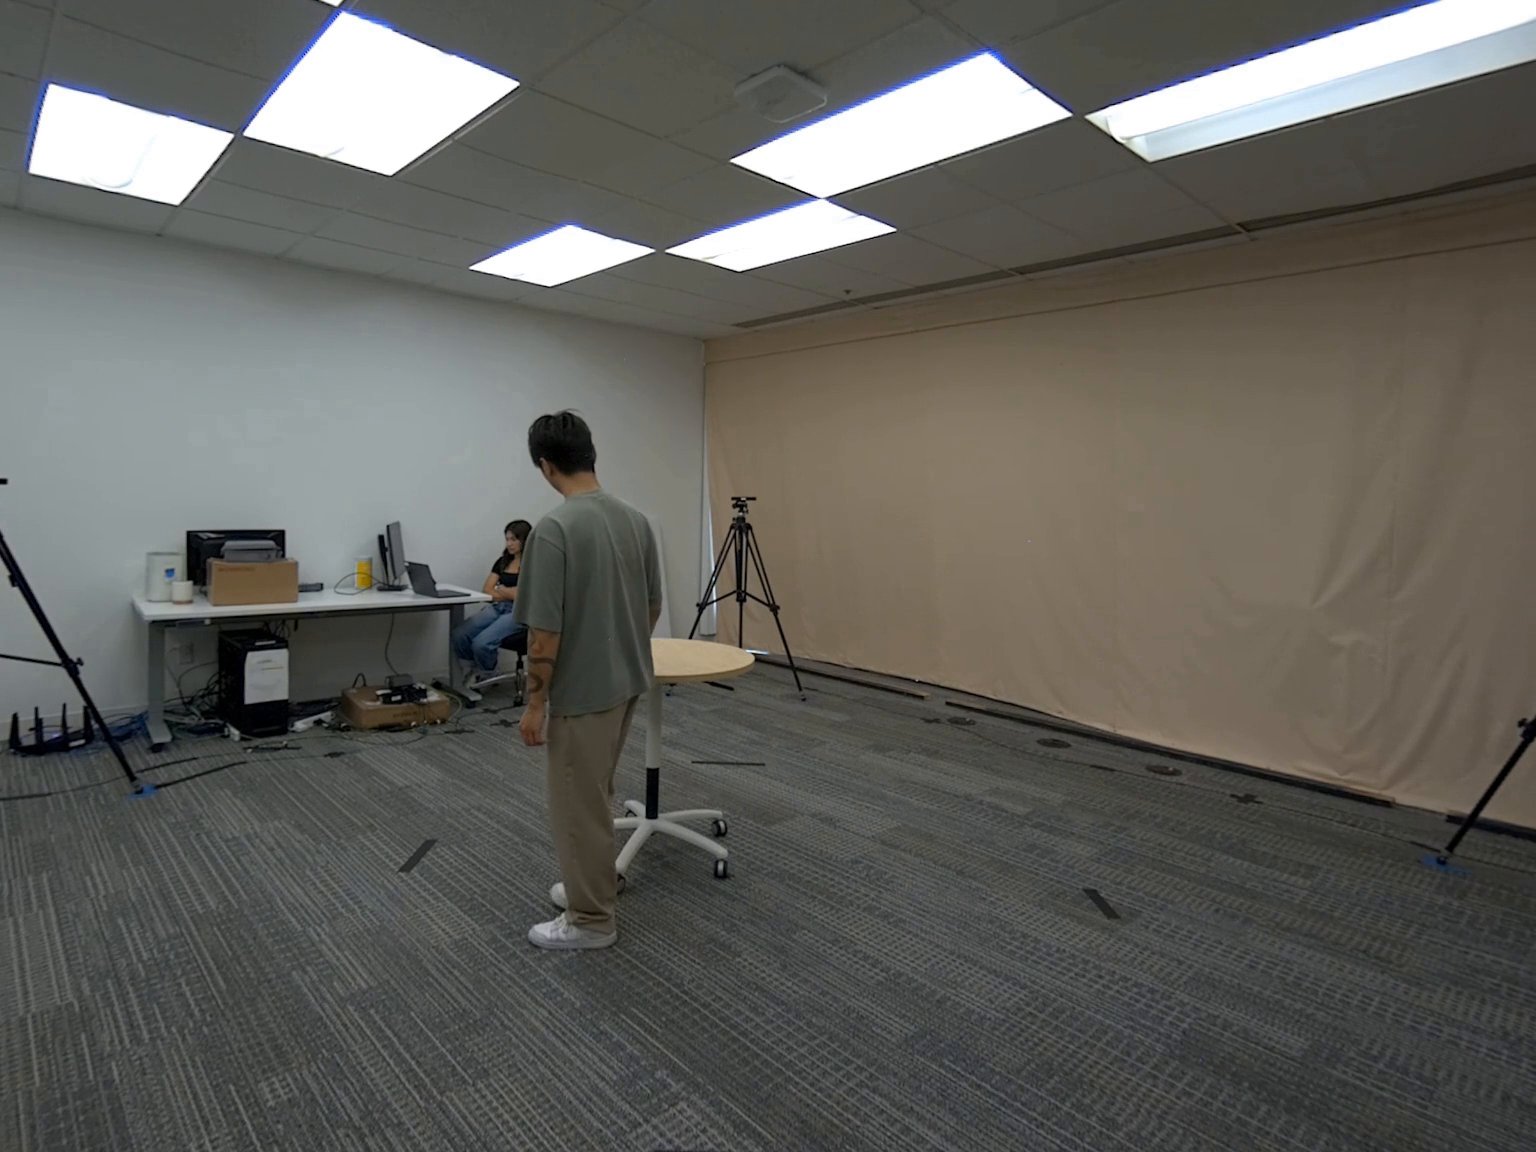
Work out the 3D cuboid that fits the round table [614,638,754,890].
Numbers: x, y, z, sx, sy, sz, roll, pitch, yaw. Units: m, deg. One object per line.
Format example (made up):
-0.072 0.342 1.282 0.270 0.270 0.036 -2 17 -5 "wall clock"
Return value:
-0.456 0.700 3.274 0.763 0.792 0.766 2 4 -1 "round table"
